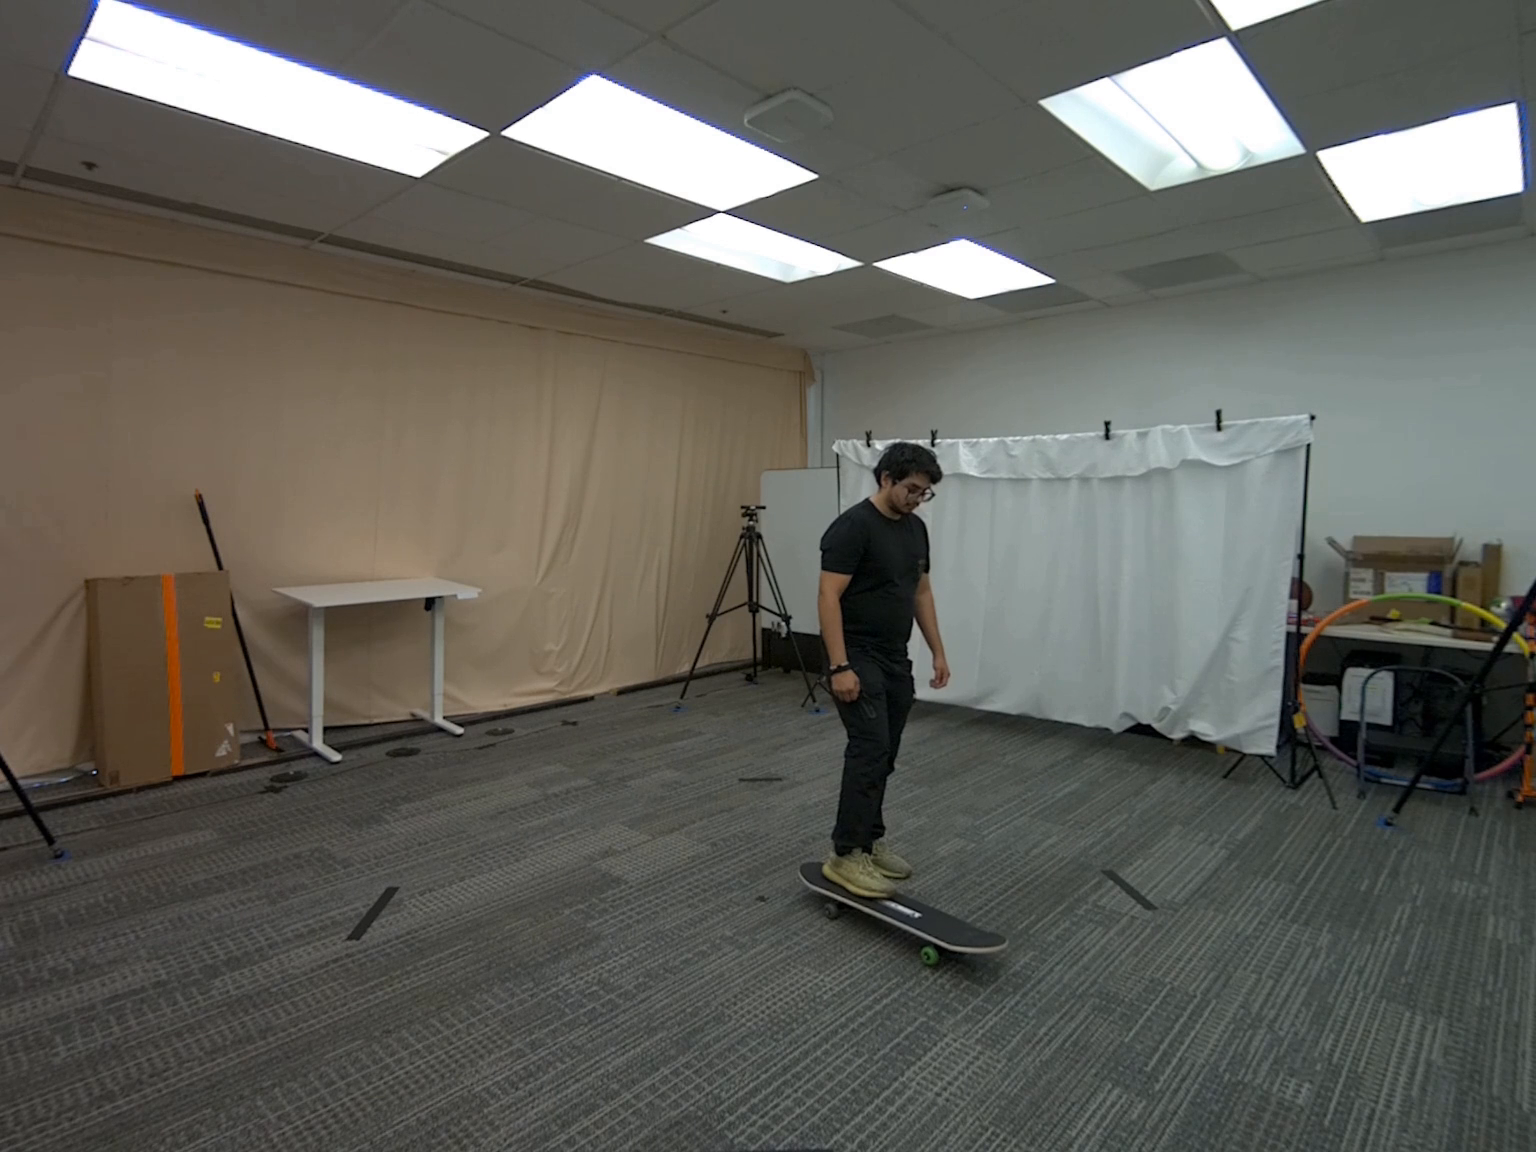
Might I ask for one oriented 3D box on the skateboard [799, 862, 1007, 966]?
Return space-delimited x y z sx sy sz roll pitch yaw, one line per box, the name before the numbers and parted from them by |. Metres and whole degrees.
skateboard | 0.411 1.101 2.742 0.187 0.110 0.811 2 1 -42
